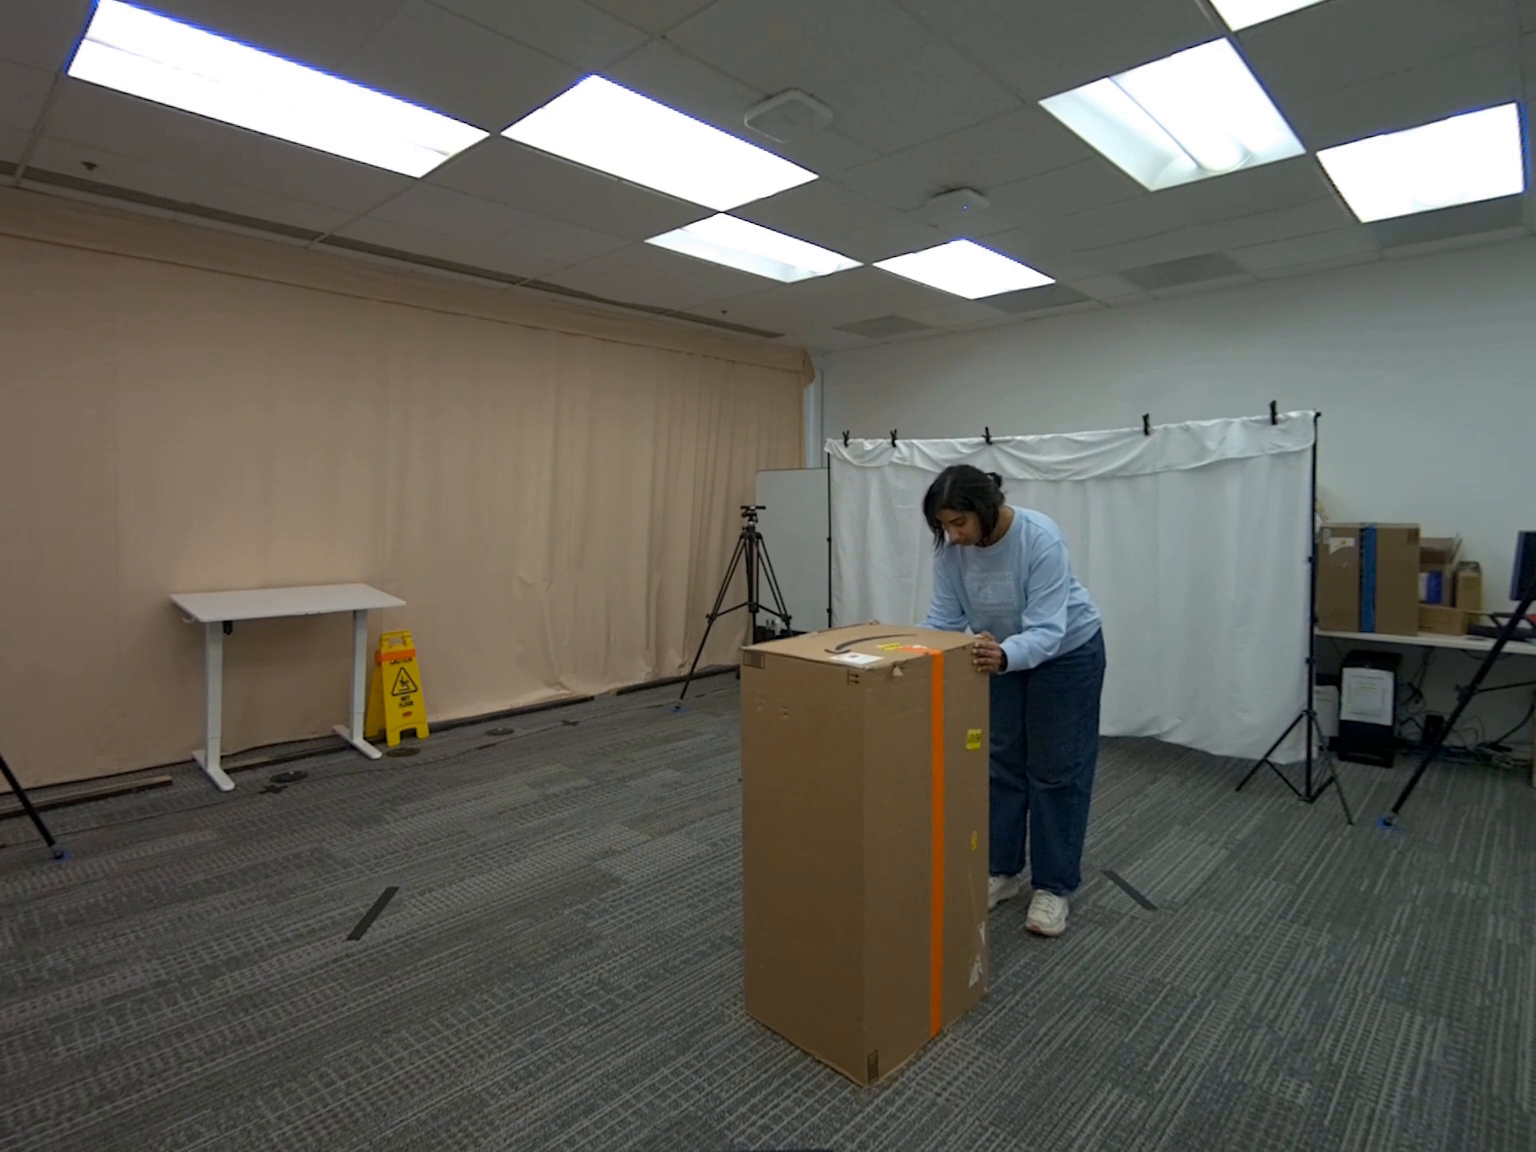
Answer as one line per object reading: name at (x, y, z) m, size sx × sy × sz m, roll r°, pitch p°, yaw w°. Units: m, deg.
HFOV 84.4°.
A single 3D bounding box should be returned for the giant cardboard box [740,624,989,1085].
giant cardboard box at (0.282, 0.694, 2.322) m, size 0.440 × 1.023 × 0.560 m, roll 3°, pitch 5°, yaw 44°
